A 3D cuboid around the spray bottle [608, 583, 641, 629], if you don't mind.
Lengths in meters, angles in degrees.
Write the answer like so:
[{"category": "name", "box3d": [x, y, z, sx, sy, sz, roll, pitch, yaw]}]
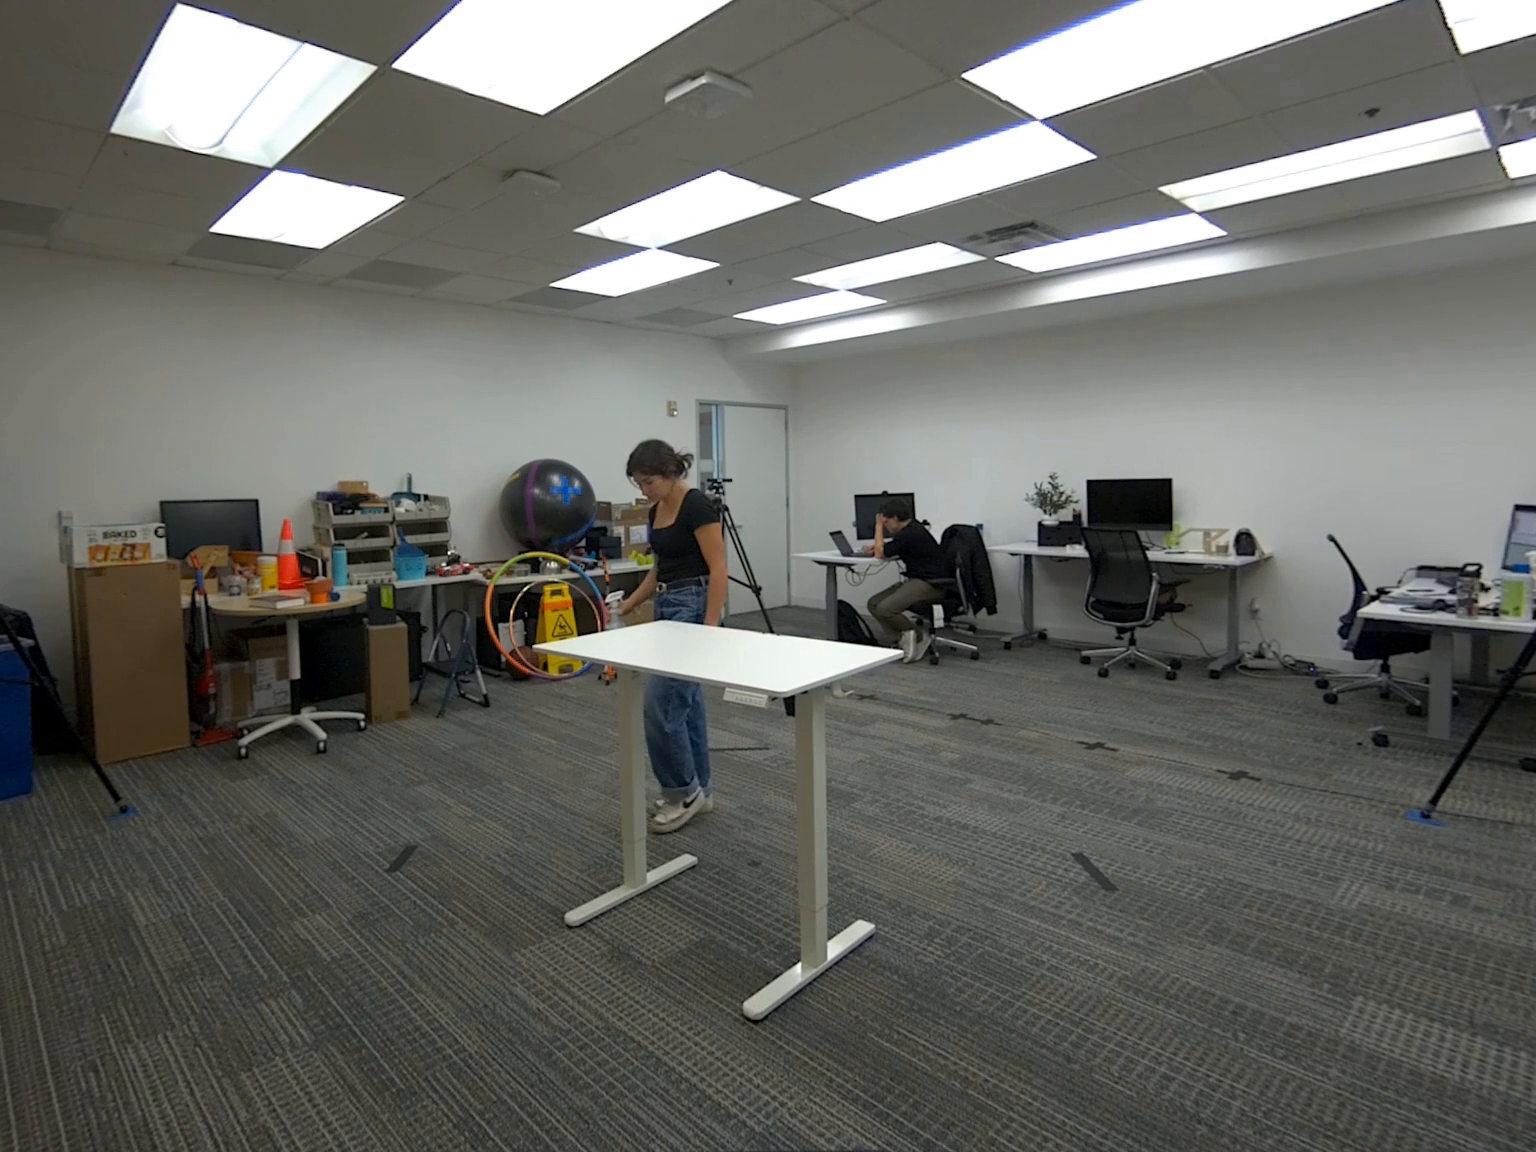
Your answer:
[{"category": "spray bottle", "box3d": [-0.619, 0.212, 3.533, 0.089, 0.295, 0.089, -4, 10, -17]}]
